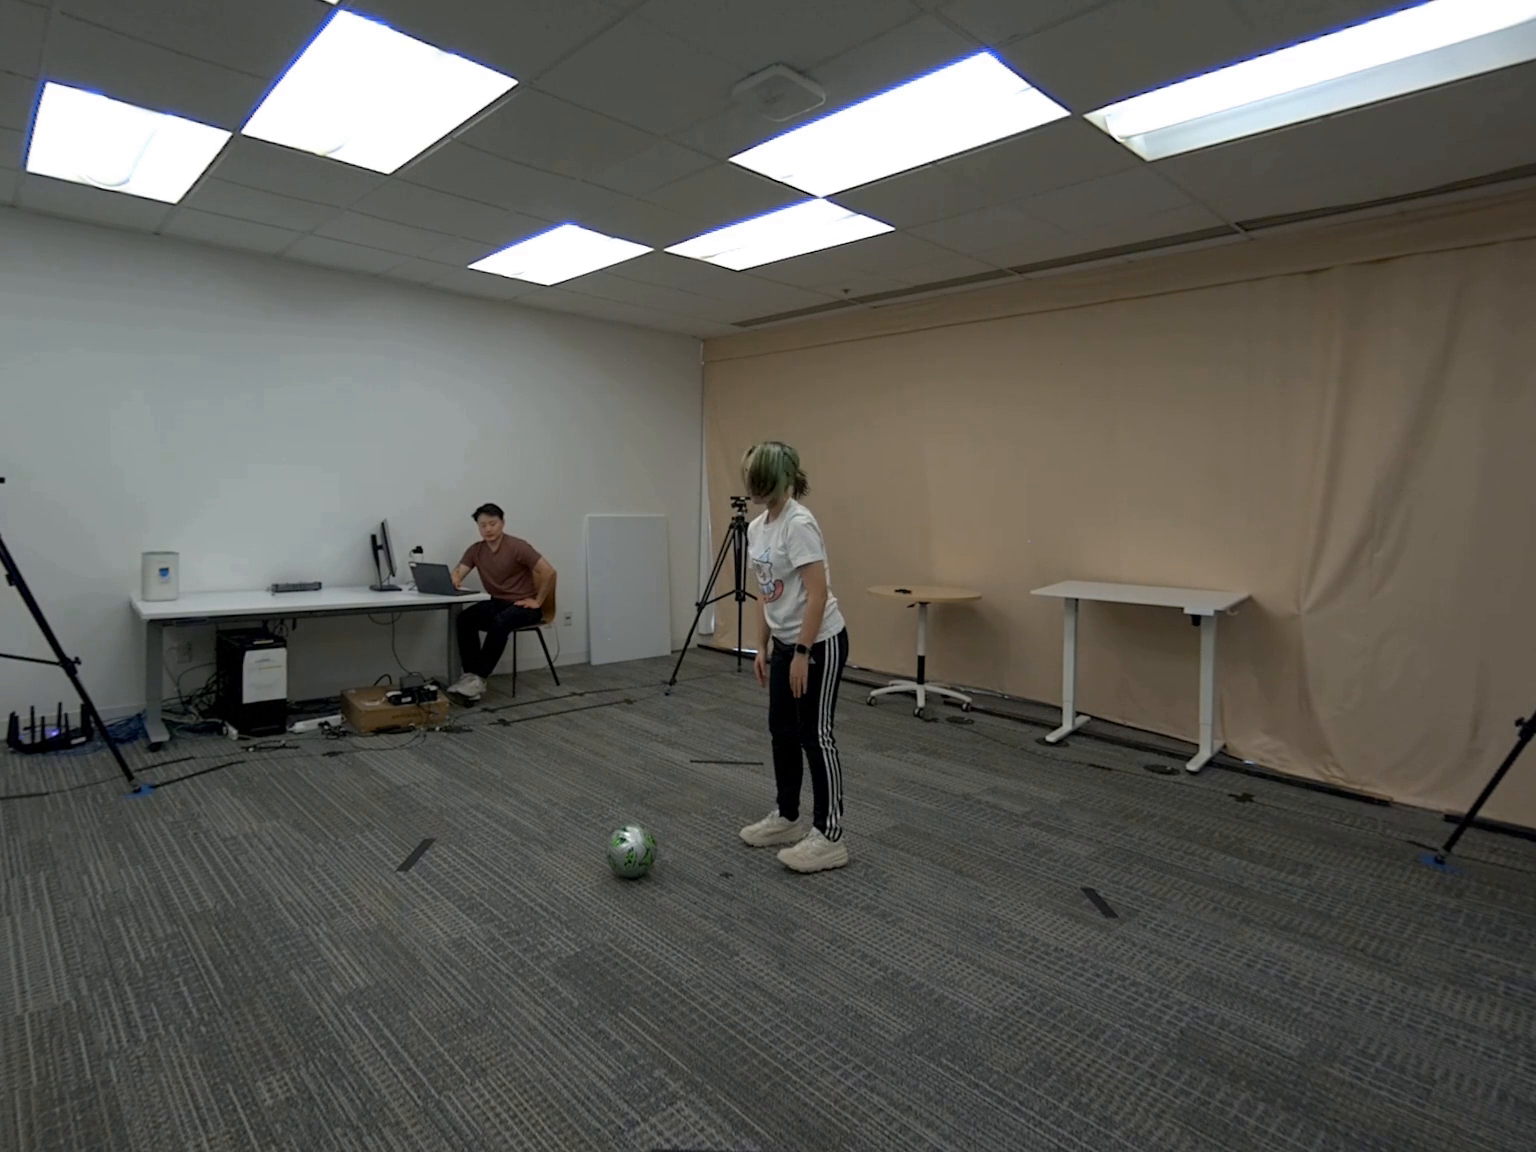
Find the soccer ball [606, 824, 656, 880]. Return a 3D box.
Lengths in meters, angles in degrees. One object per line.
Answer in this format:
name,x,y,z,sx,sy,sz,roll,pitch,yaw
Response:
soccer ball,-0.505,1.008,3.077,0.187,0.187,0.188,1,4,-1
